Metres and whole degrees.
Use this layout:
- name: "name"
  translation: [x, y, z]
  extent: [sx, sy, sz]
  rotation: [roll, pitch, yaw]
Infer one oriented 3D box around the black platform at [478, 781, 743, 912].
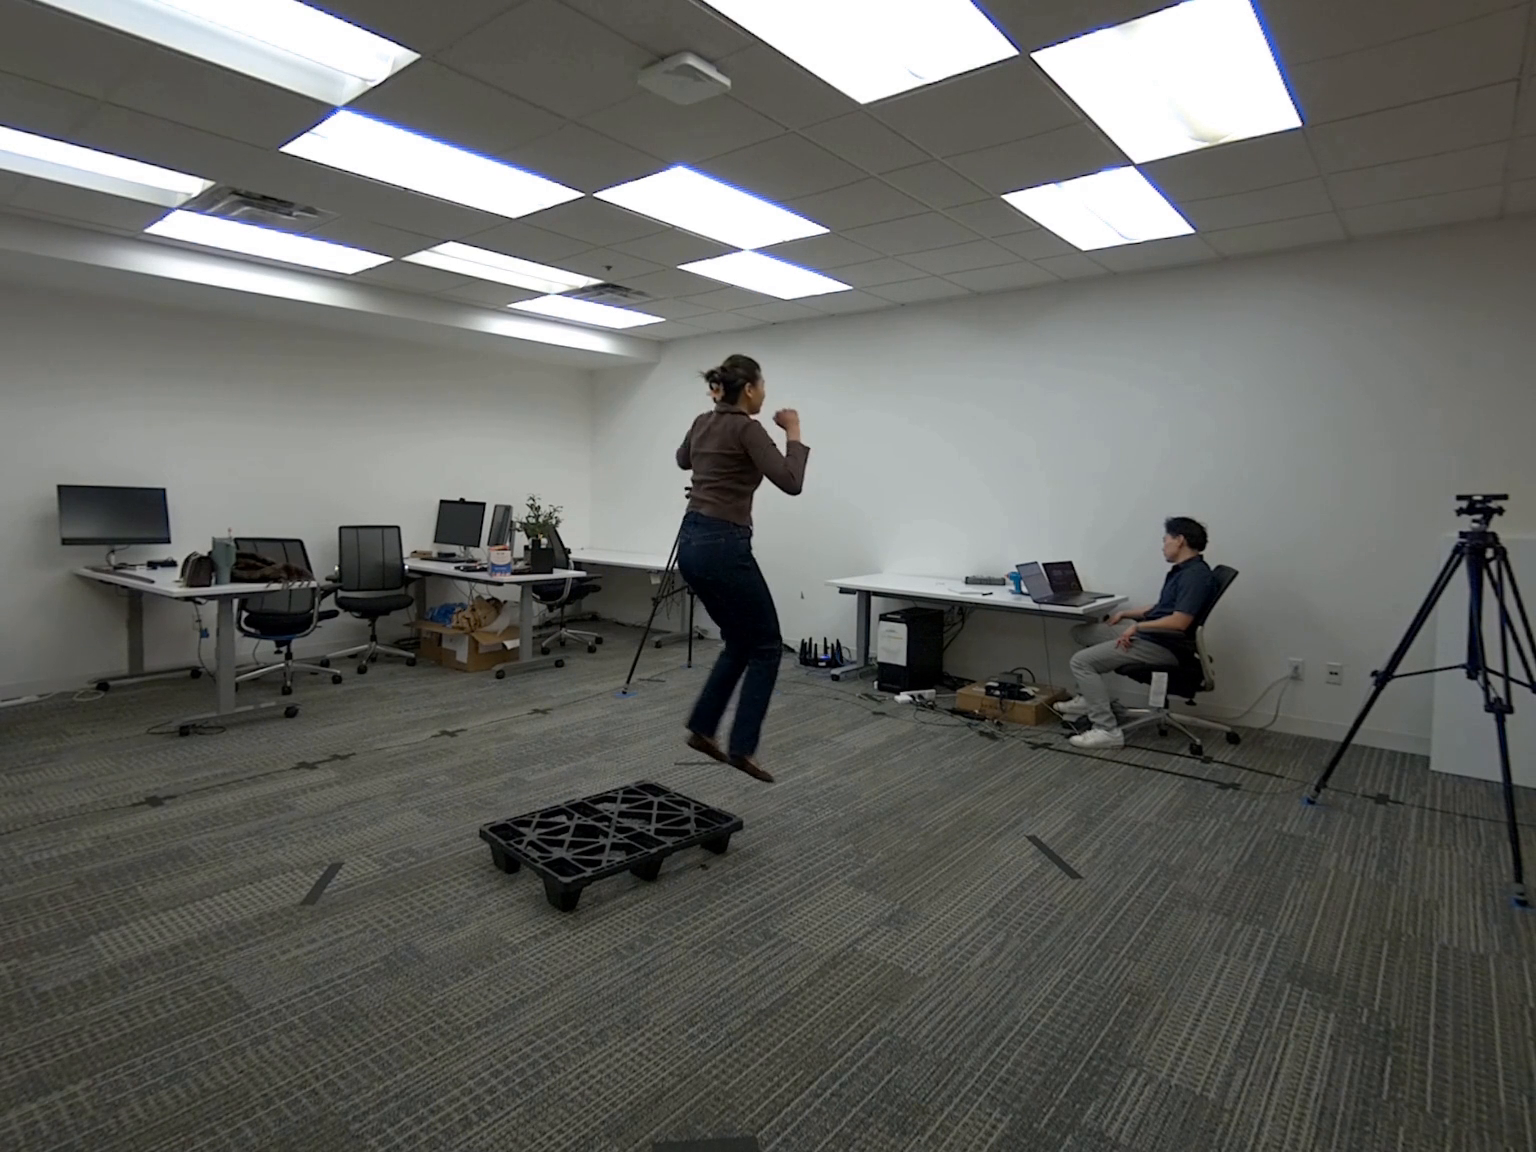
- name: "black platform"
  translation: [-0.582, 0.988, 3.178]
  extent: [0.781, 0.143, 0.626]
  rotation: [-5, 9, -44]
